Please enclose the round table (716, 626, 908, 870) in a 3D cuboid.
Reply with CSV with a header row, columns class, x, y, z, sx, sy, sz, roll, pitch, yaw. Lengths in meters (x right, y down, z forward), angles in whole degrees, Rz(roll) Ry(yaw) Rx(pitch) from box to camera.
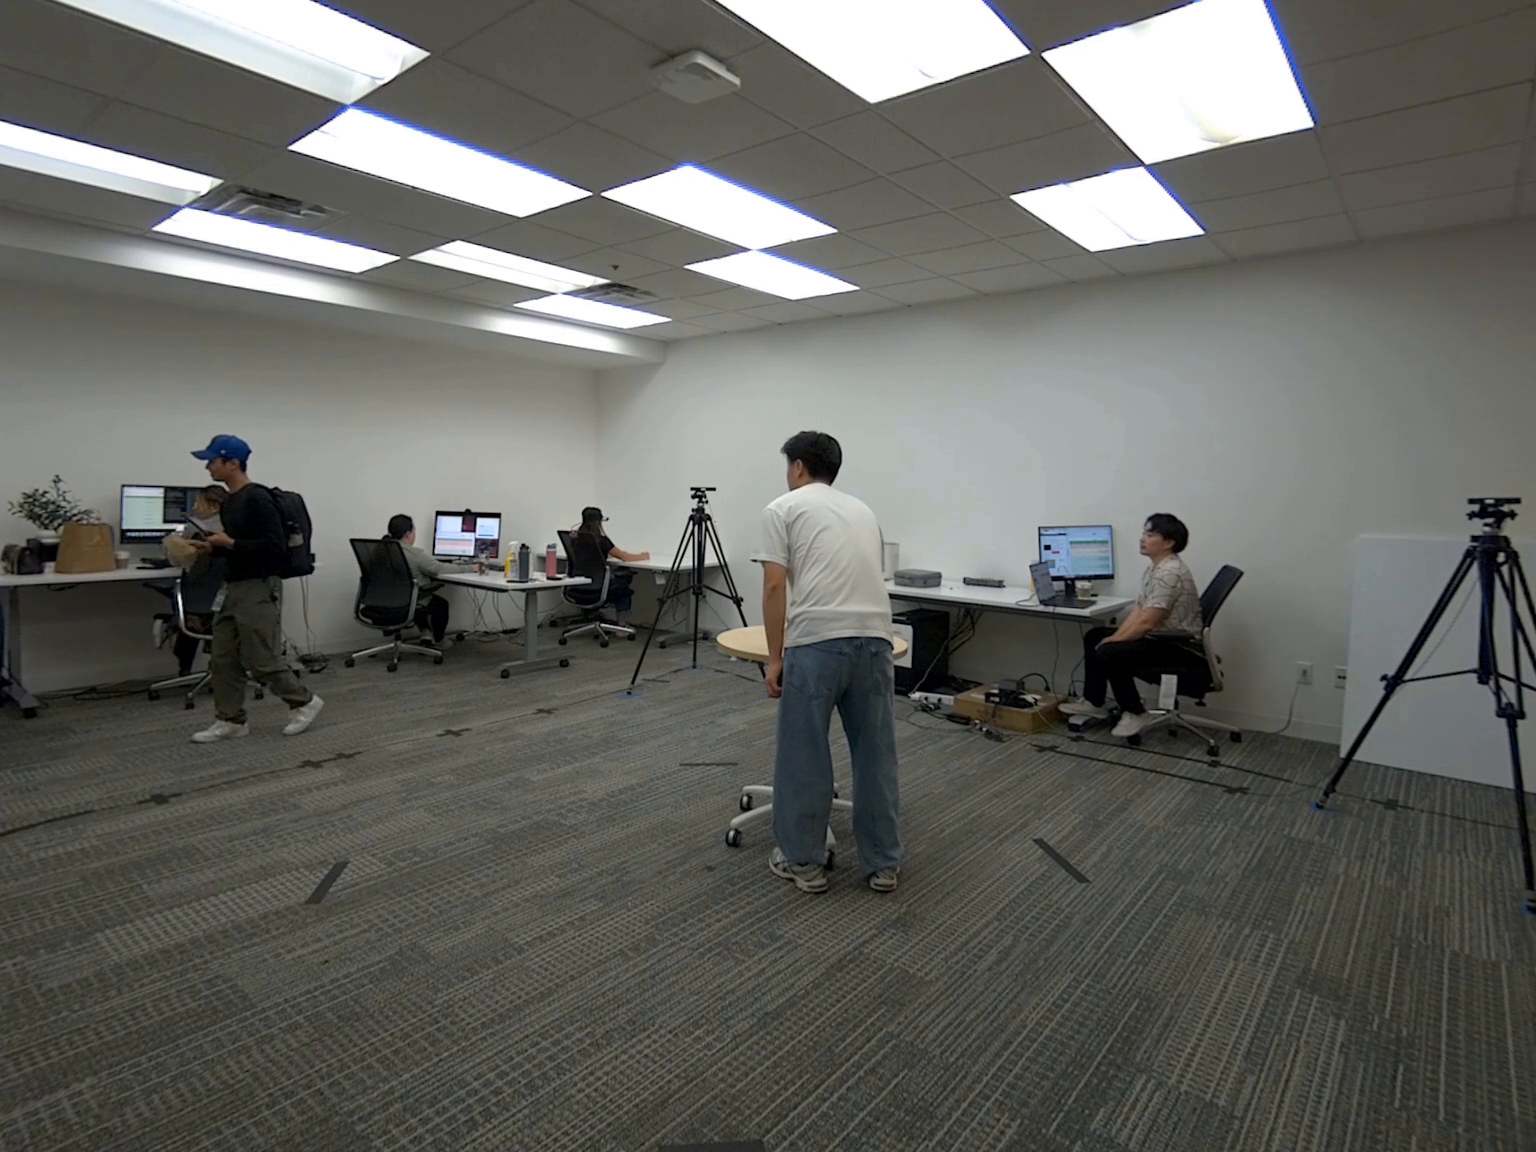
class,x,y,z,sx,sy,sz,roll,pitch,yaw
round table,0.146,0.646,3.465,0.763,0.791,0.768,1,4,-2
